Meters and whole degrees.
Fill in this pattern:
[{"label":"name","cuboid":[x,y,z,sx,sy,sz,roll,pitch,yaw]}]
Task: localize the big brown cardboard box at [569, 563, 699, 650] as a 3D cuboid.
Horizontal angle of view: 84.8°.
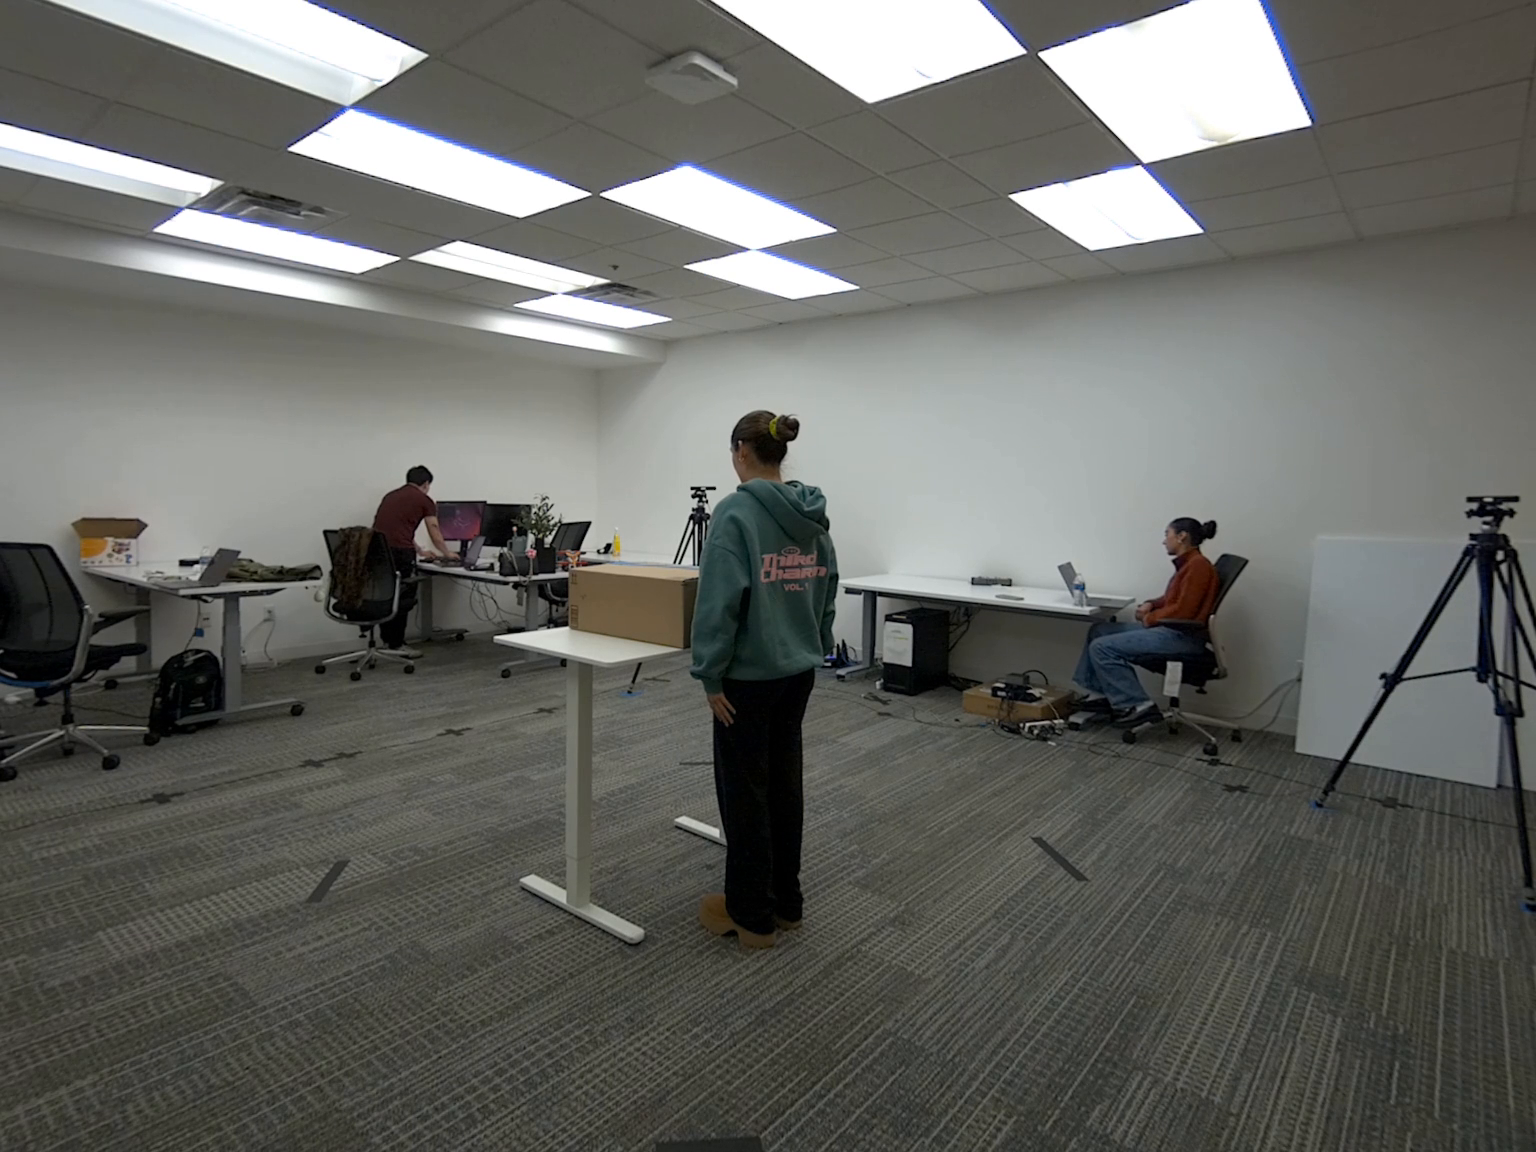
[{"label":"big brown cardboard box","cuboid":[-0.366,0.083,2.983,0.608,0.232,0.405,4,6,39]}]
